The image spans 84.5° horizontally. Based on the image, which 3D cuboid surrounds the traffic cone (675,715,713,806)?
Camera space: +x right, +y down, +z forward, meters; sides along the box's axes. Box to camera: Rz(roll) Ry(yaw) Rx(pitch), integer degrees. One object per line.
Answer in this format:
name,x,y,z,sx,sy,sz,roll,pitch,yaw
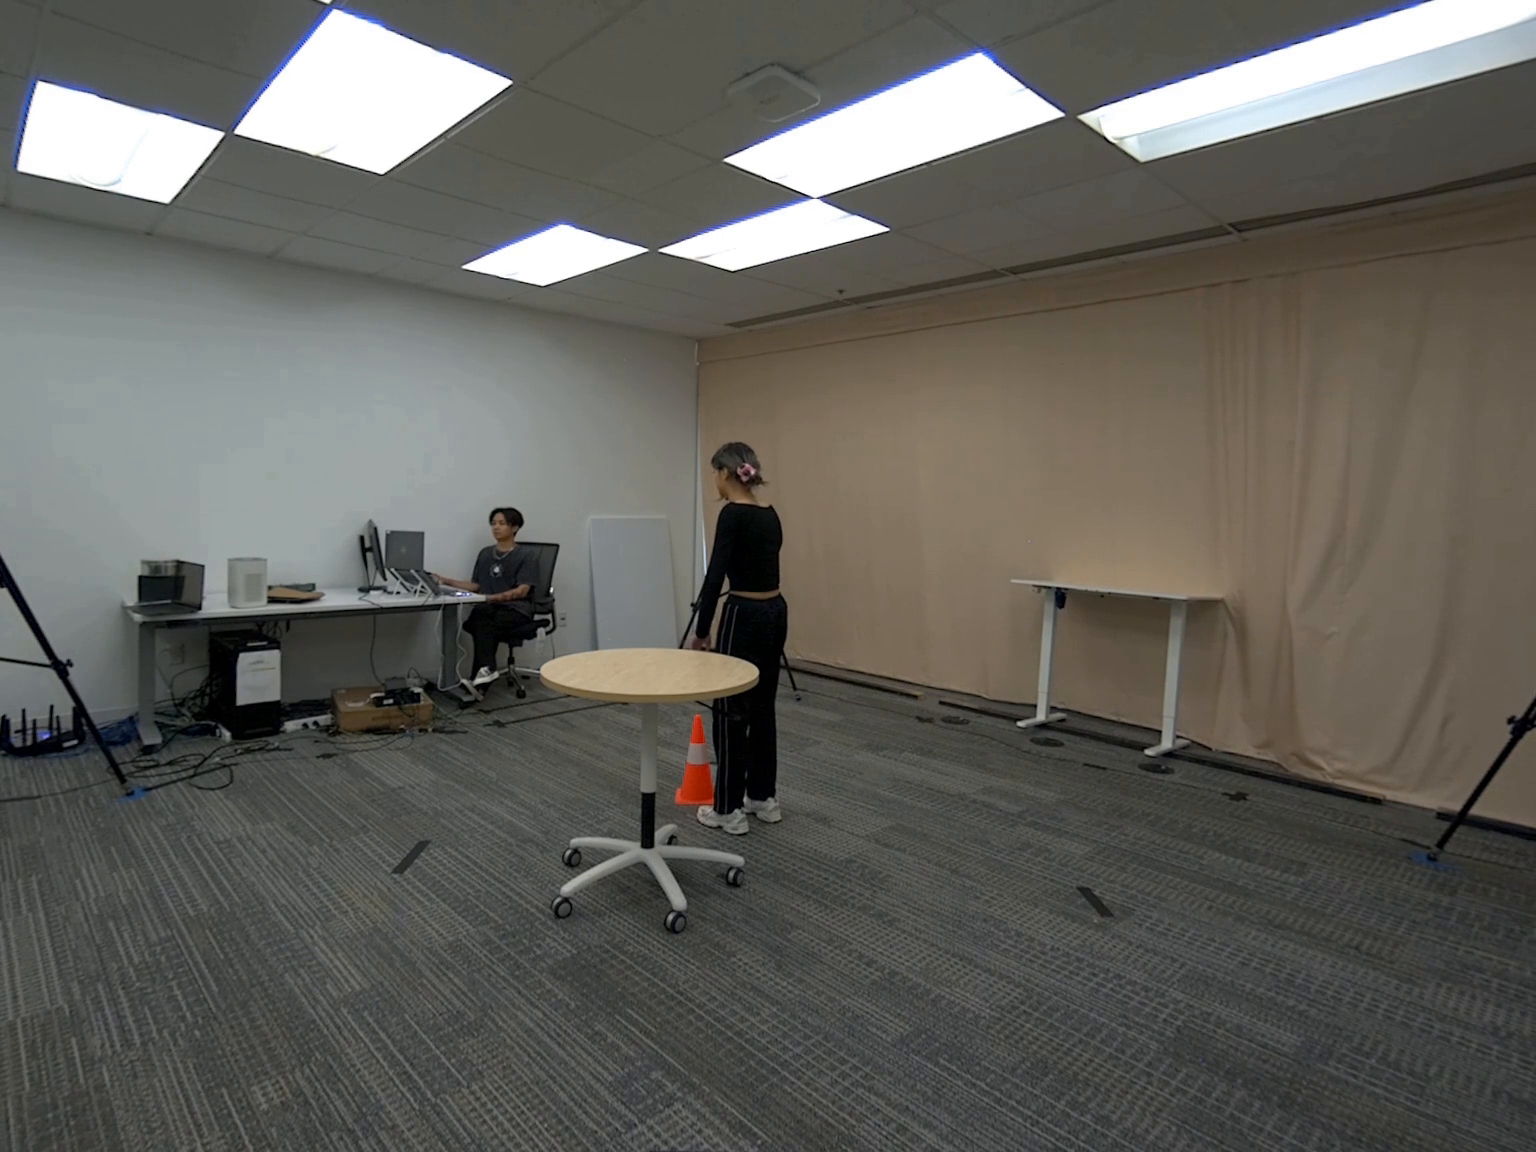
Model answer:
traffic cone,-0.343,0.844,3.924,0.203,0.382,0.205,1,5,0
